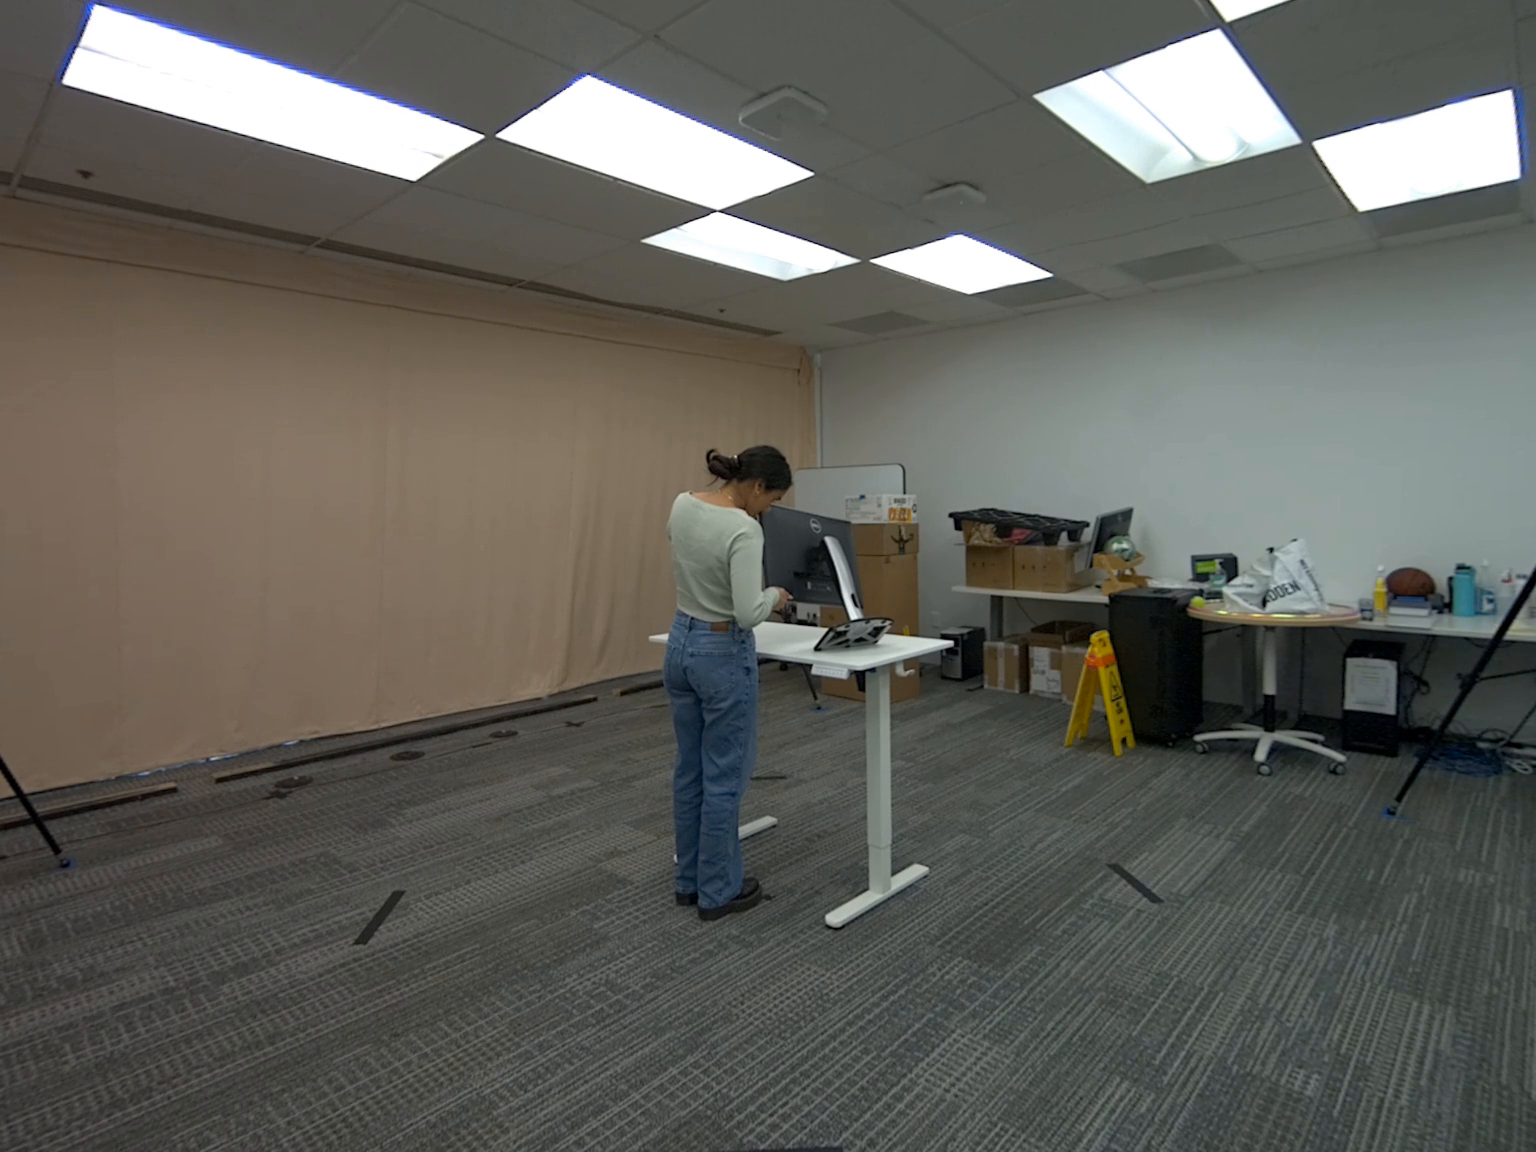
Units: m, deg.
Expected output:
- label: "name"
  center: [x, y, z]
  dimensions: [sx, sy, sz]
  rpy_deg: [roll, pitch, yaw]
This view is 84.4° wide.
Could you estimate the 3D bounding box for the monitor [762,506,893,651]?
- label: "monitor"
  center: [0.222, -0.002, 3.034]
  dimensions: [0.190, 0.533, 0.520]
  rpy_deg: [-36, -29, 33]
